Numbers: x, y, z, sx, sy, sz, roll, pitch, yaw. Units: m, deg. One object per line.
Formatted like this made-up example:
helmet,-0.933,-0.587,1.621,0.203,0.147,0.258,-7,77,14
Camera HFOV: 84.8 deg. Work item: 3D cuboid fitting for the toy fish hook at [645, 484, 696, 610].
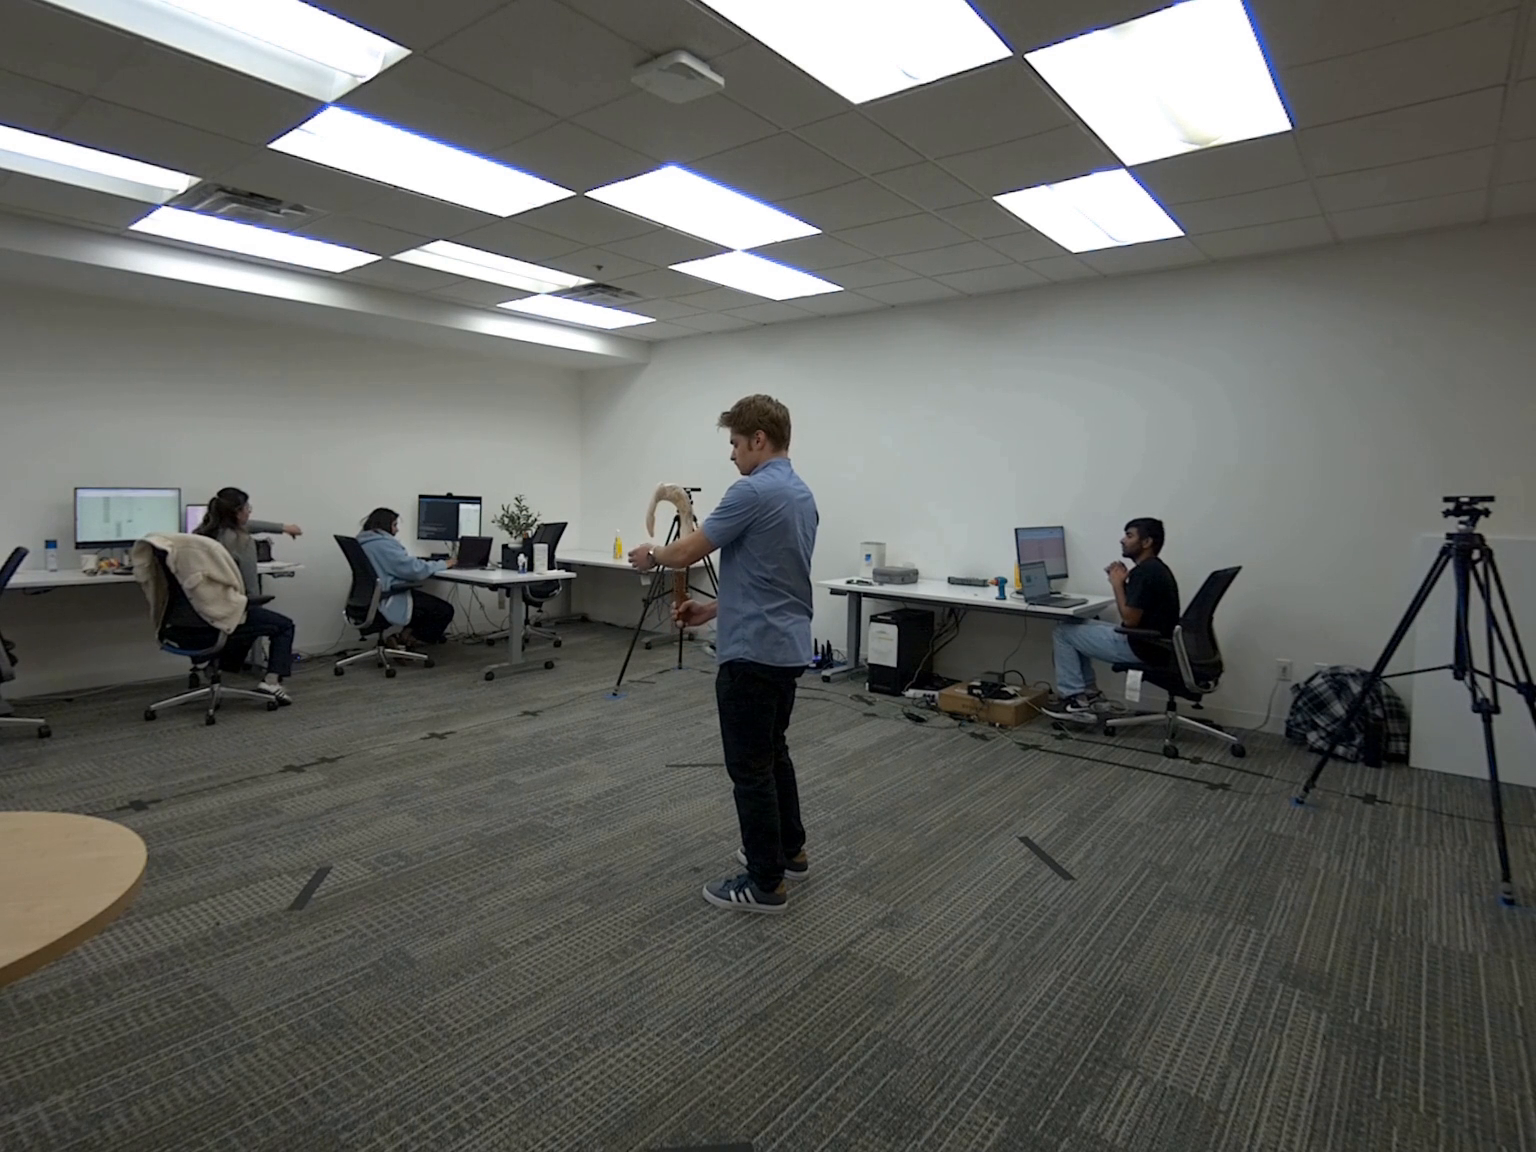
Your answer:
toy fish hook,-0.344,-0.073,2.952,0.049,0.511,0.217,-12,-11,44
